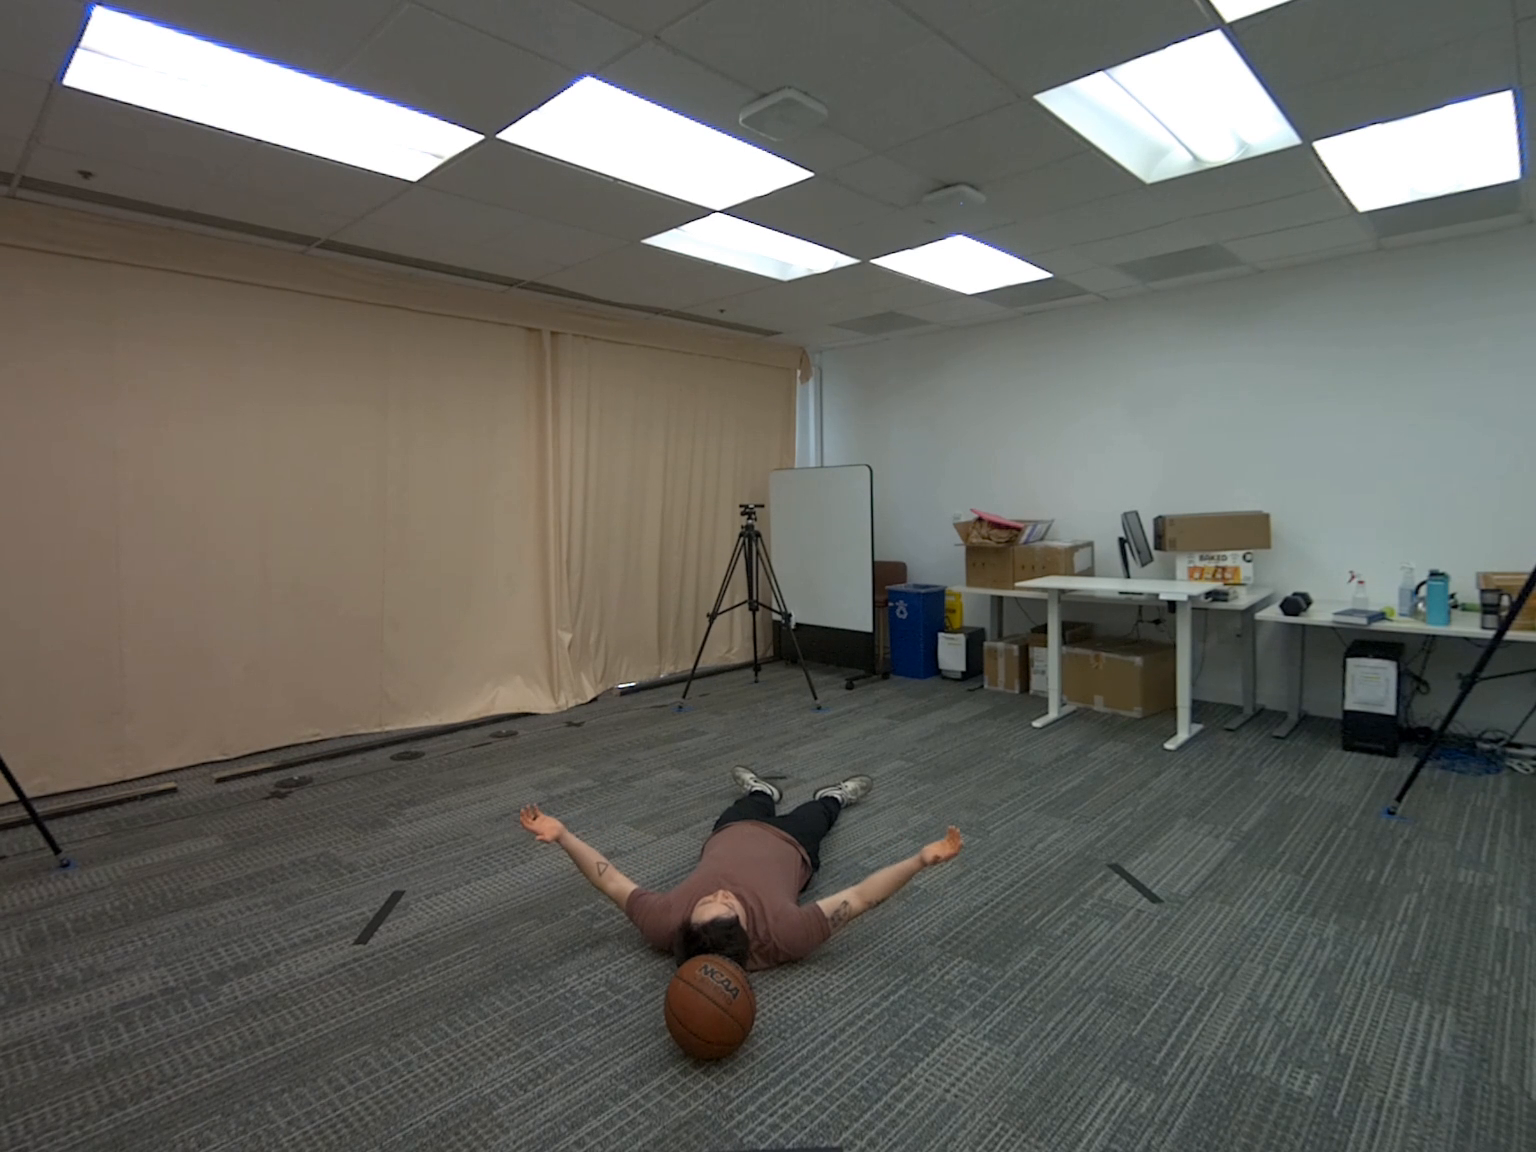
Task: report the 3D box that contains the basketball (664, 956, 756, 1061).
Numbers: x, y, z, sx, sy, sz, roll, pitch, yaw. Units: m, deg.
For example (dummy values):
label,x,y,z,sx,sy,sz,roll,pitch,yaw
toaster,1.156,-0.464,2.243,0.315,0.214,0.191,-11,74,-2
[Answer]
label,x,y,z,sx,sy,sz,roll,pitch,yaw
basketball,-0.139,1.095,2.145,0.235,0.235,0.237,3,5,-2
